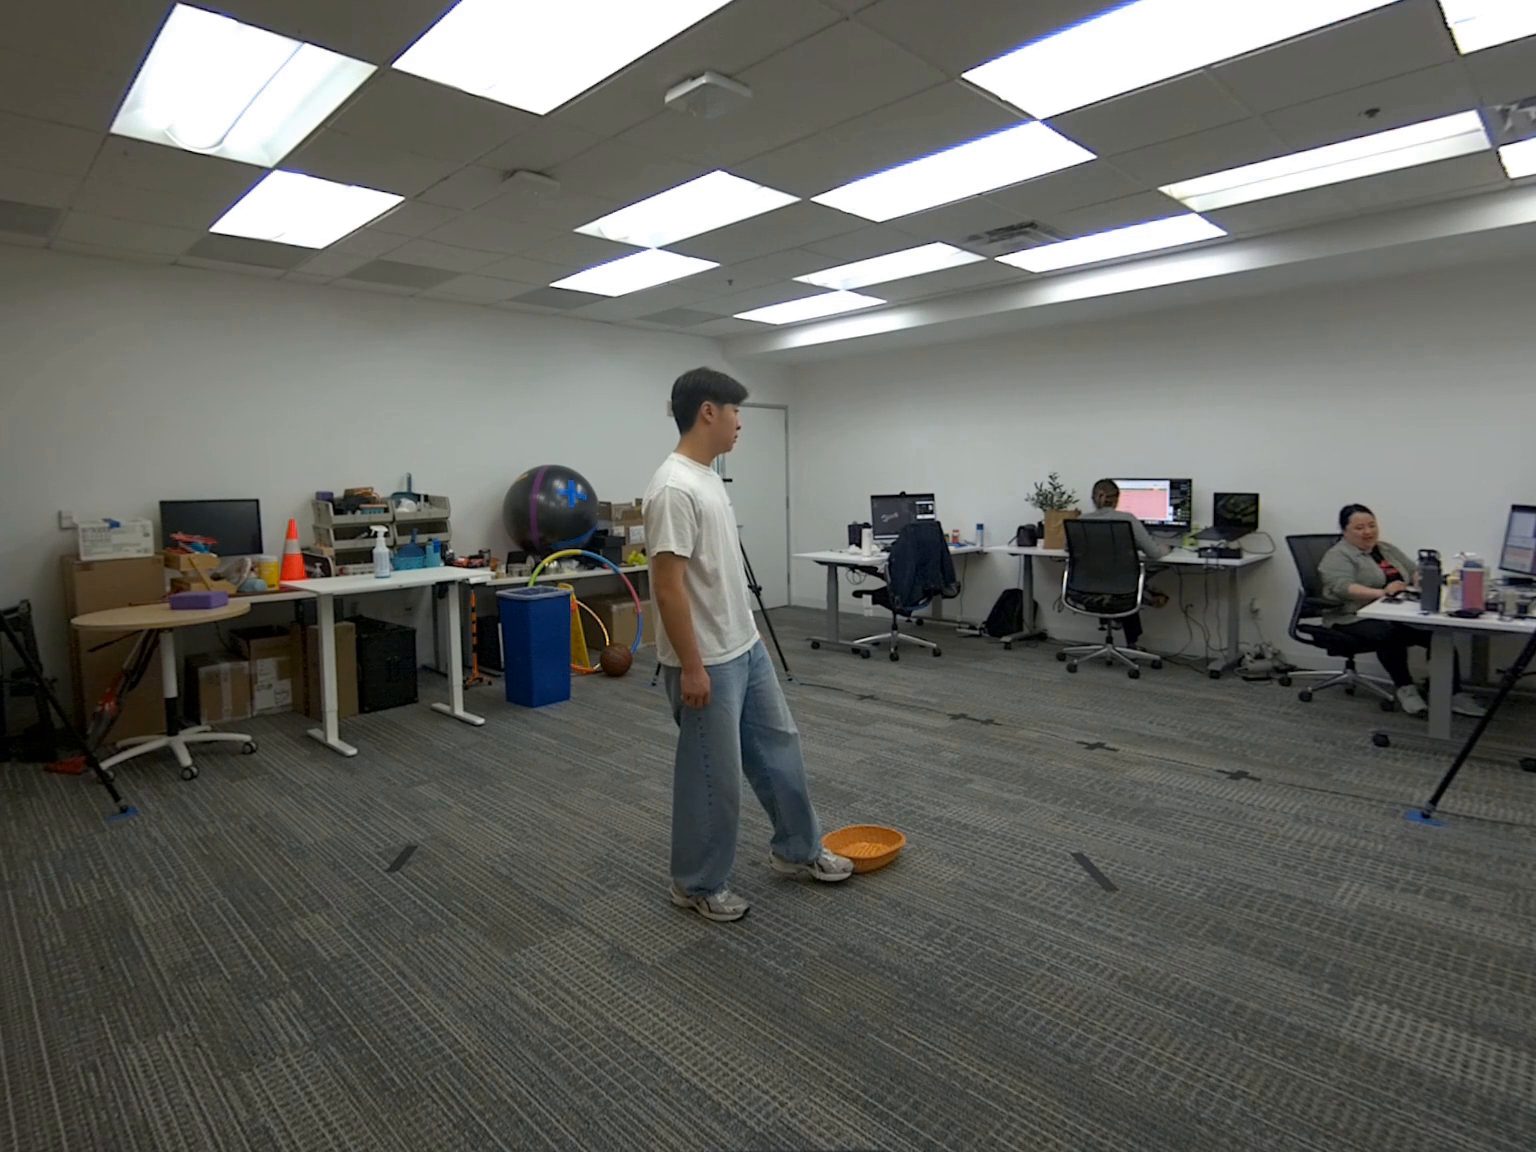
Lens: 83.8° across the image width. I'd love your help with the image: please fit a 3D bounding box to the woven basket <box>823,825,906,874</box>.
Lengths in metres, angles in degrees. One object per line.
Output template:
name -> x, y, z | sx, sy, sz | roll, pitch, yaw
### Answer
woven basket -> 0.348, 0.993, 3.113 | 0.260, 0.073, 0.341 | 4, 6, 45
